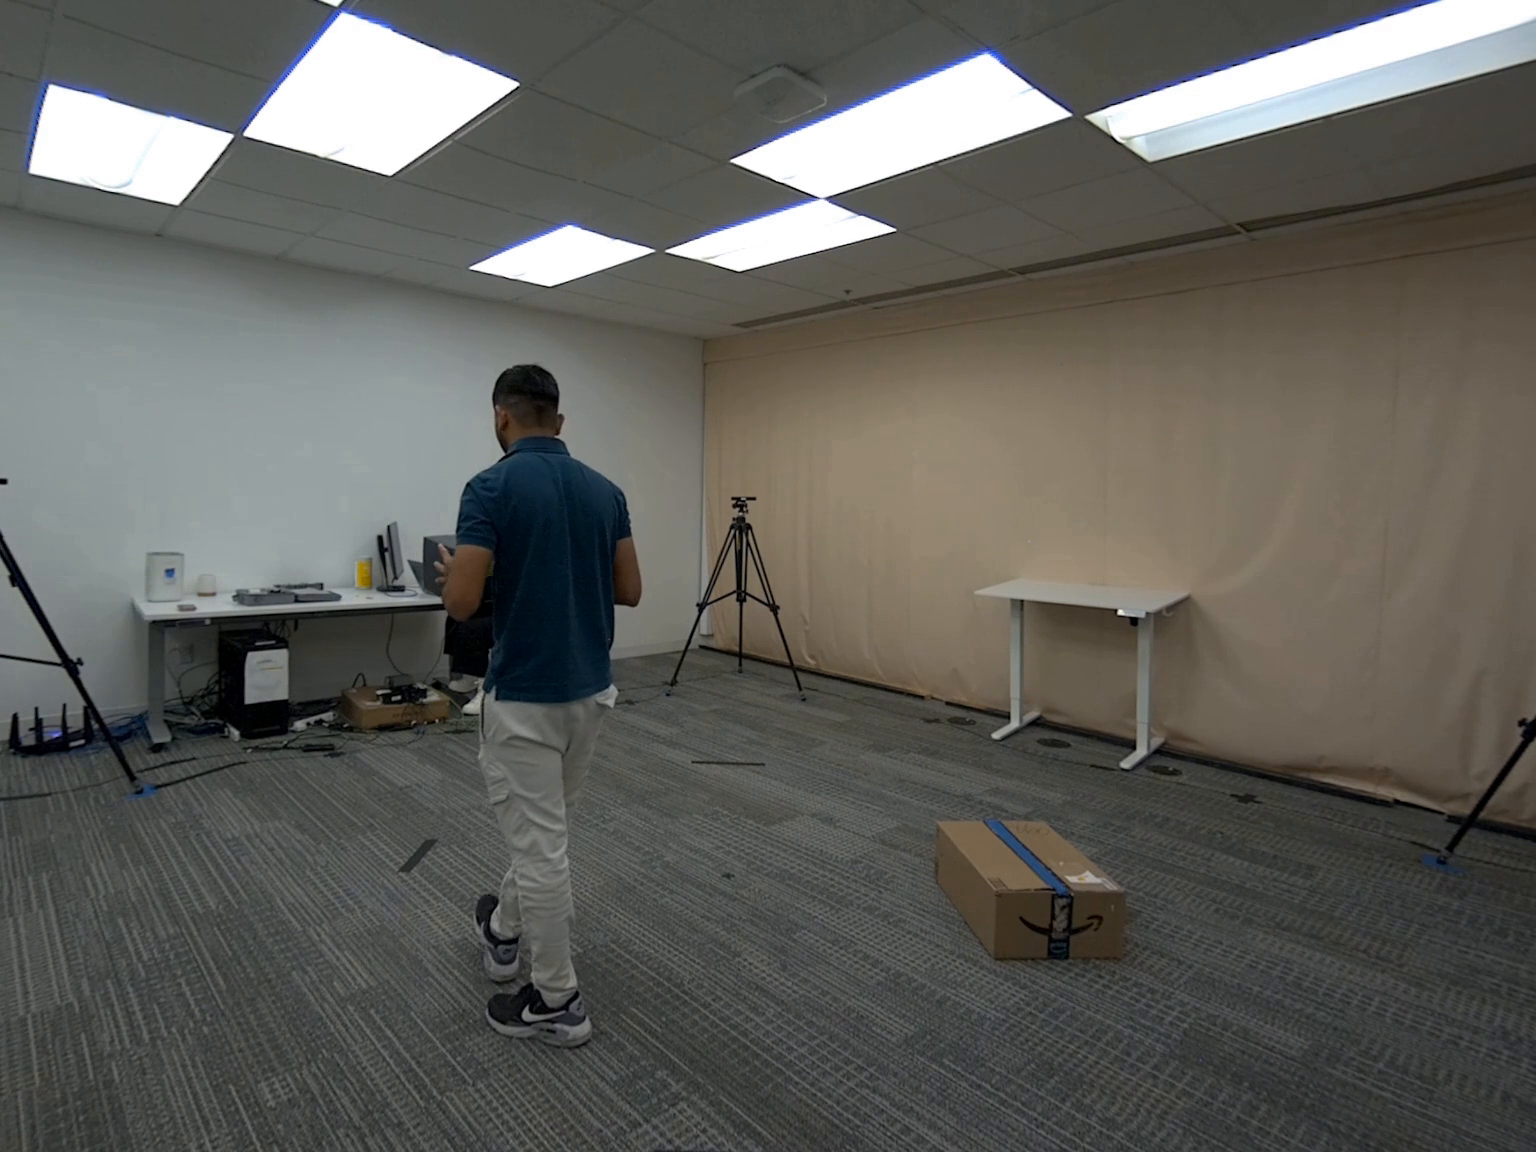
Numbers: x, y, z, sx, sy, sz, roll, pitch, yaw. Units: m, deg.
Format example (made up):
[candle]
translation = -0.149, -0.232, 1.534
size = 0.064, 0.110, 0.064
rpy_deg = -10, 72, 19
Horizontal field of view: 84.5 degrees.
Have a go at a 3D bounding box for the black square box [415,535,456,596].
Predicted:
[black square box]
translation = -0.845, -0.031, 2.443
size = 0.223, 0.155, 0.223
rpy_deg = 13, 14, 43
